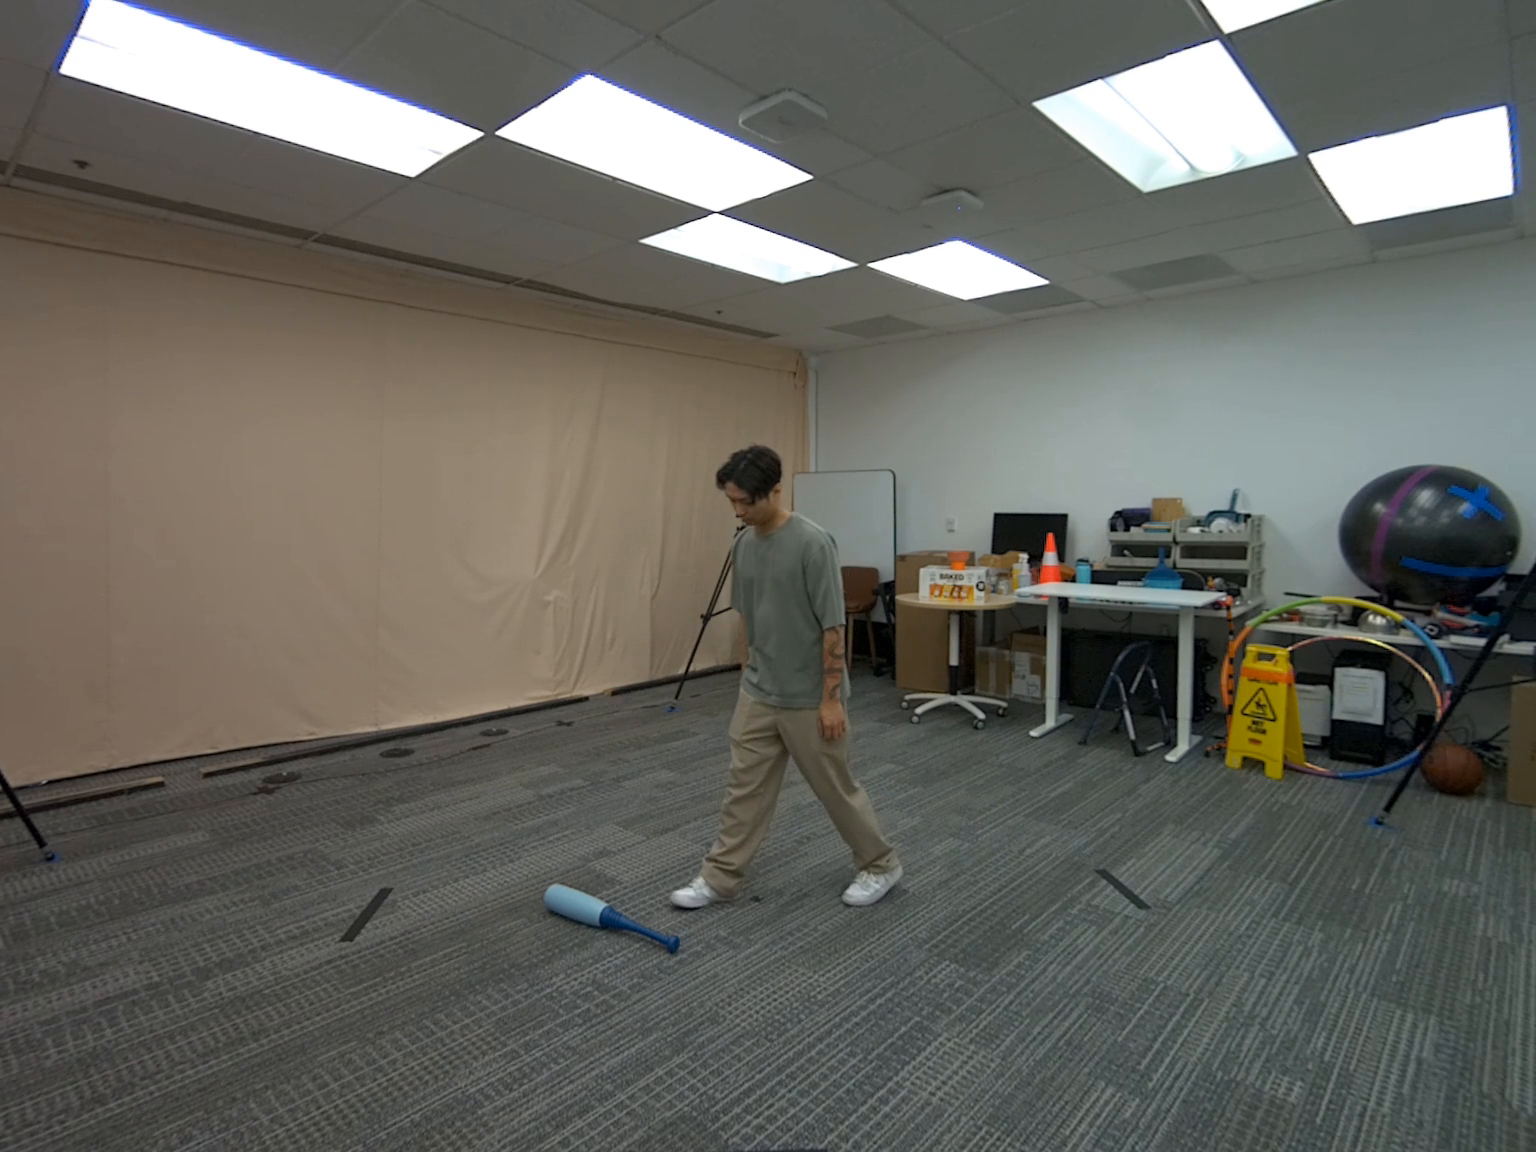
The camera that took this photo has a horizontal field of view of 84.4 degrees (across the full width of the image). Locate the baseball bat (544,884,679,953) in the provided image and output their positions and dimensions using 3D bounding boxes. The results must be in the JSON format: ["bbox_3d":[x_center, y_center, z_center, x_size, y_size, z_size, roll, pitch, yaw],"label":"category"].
[{"bbox_3d":[-0.520,1.127,2.772,0.560,0.089,0.086,5,6,33],"label":"baseball bat"}]
